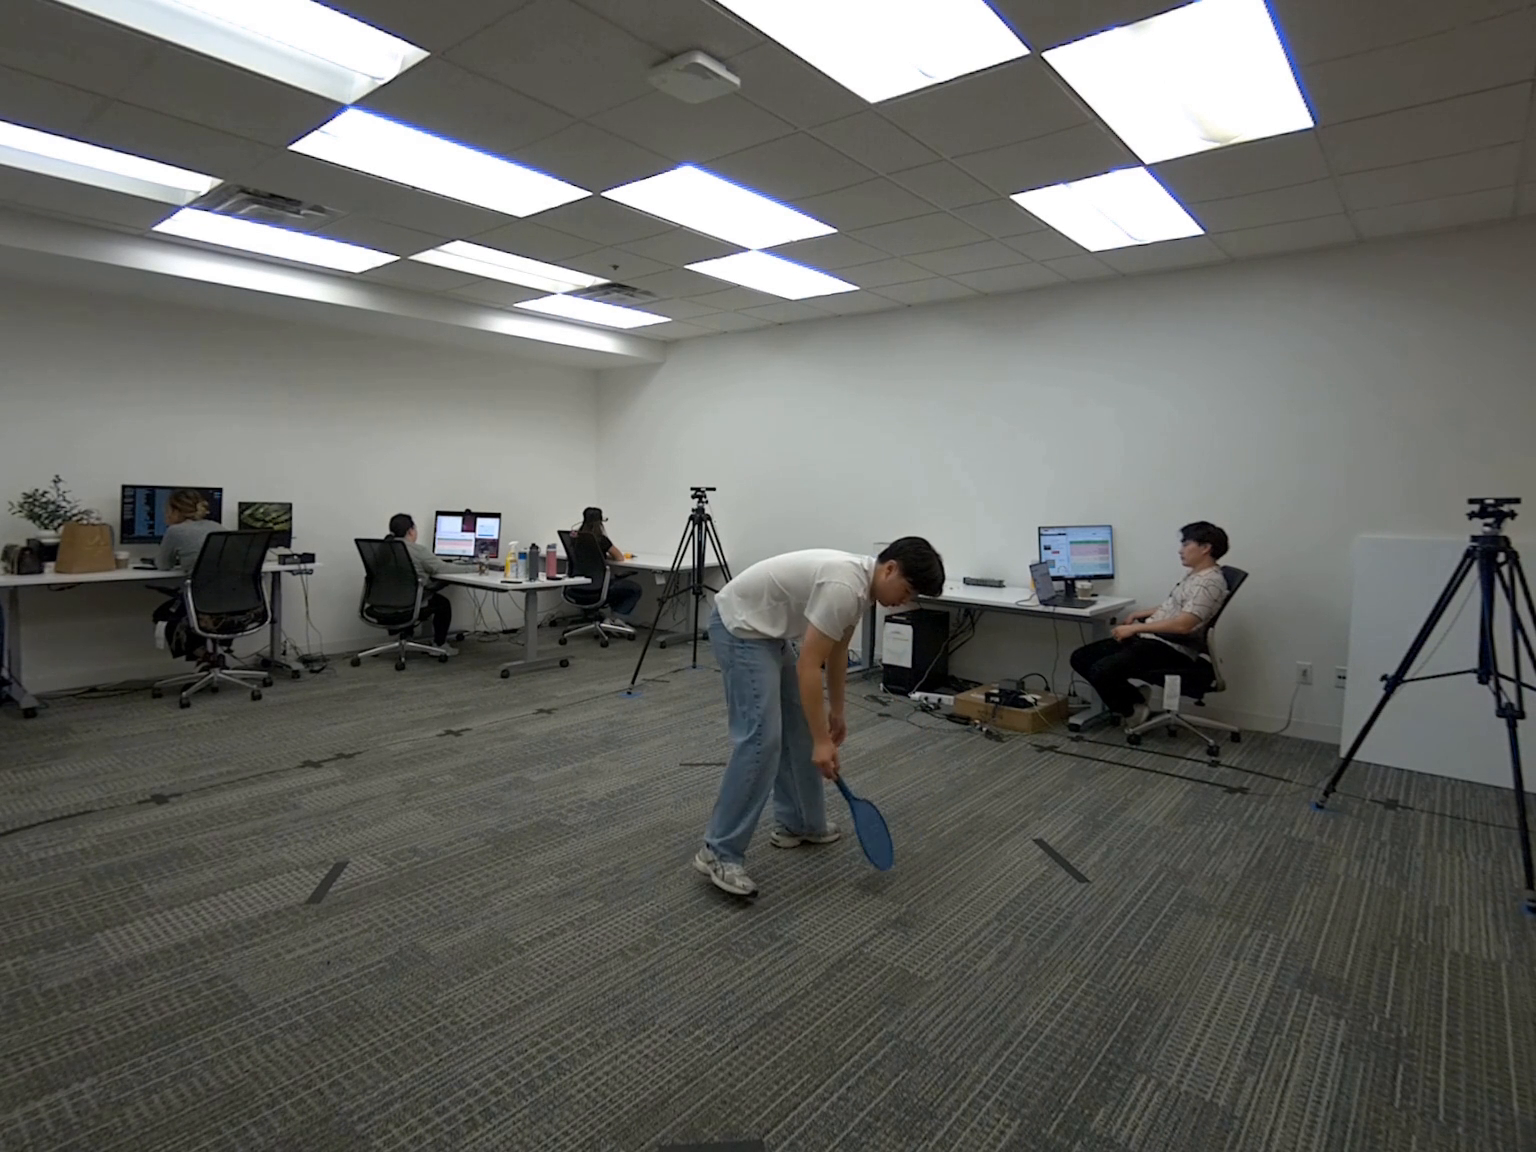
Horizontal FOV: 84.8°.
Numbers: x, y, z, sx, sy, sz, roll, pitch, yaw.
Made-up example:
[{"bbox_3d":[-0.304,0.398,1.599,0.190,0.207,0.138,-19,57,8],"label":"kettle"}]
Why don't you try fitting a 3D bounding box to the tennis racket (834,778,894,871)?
[{"bbox_3d":[0.315,0.843,2.952,0.032,0.426,0.214,-23,13,28],"label":"tennis racket"}]
